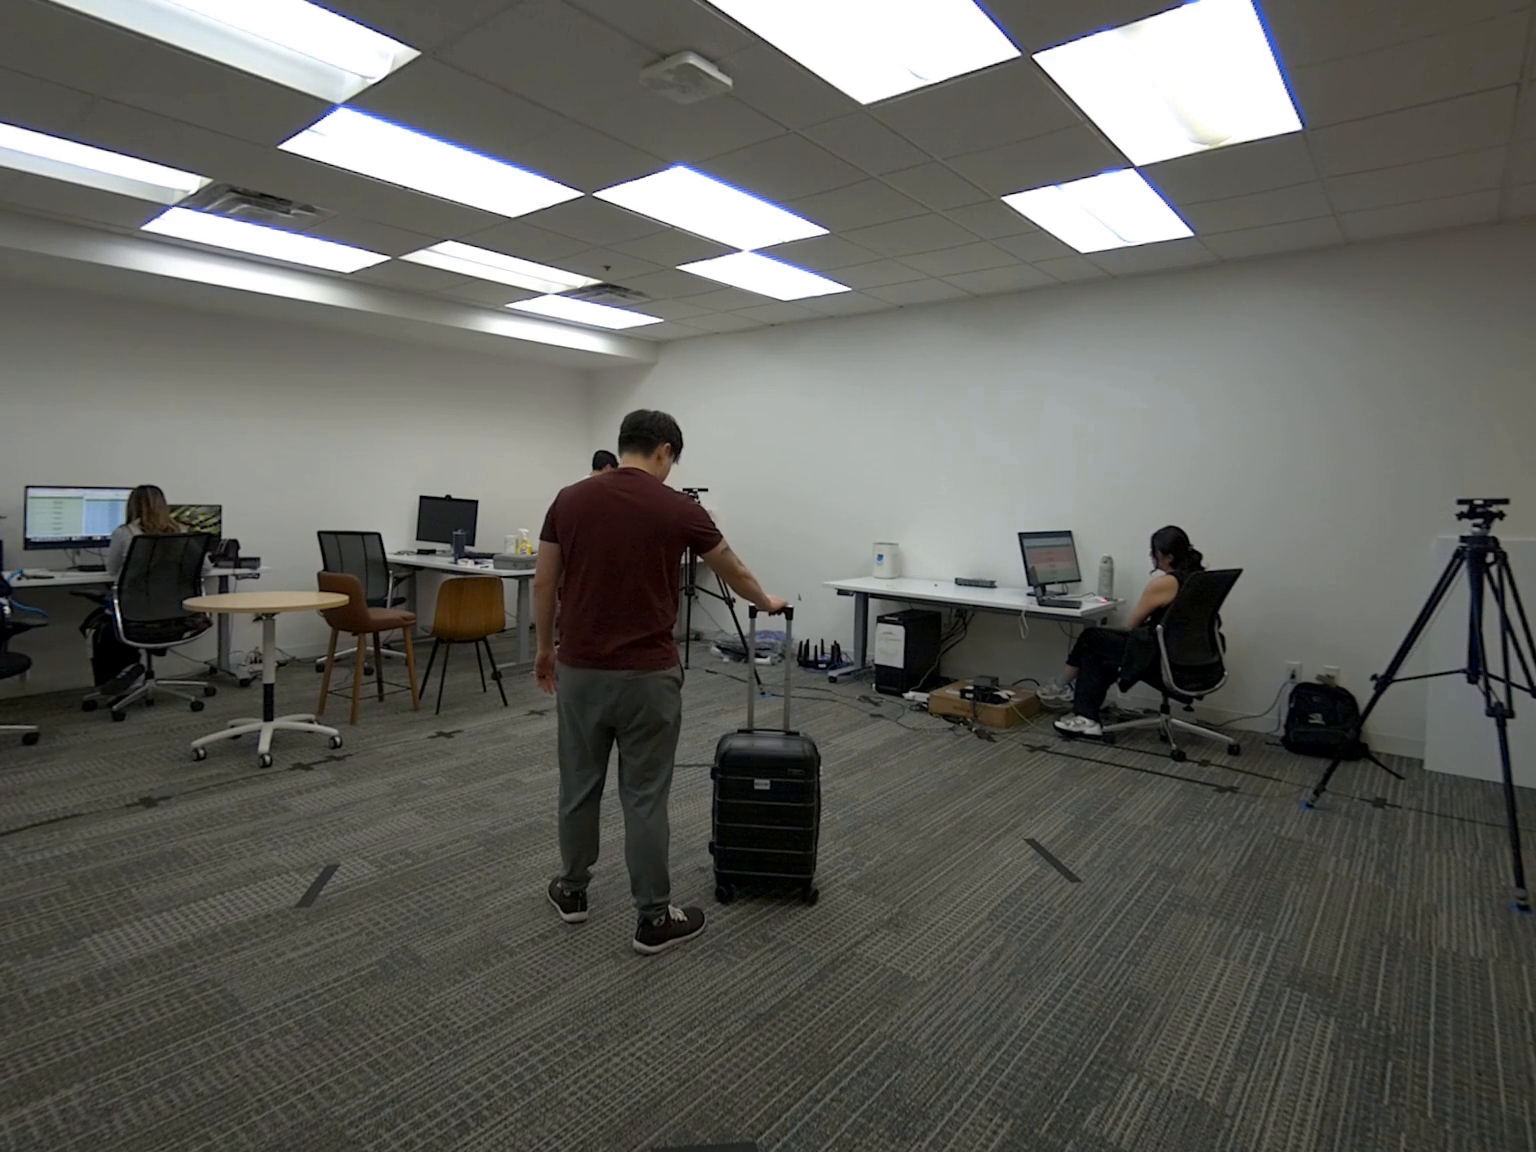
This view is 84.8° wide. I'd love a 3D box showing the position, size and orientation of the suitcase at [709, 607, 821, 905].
[{"bbox_3d":[-0.009,0.613,2.945,0.385,0.974,0.258,1,5,2],"label":"suitcase"}]
